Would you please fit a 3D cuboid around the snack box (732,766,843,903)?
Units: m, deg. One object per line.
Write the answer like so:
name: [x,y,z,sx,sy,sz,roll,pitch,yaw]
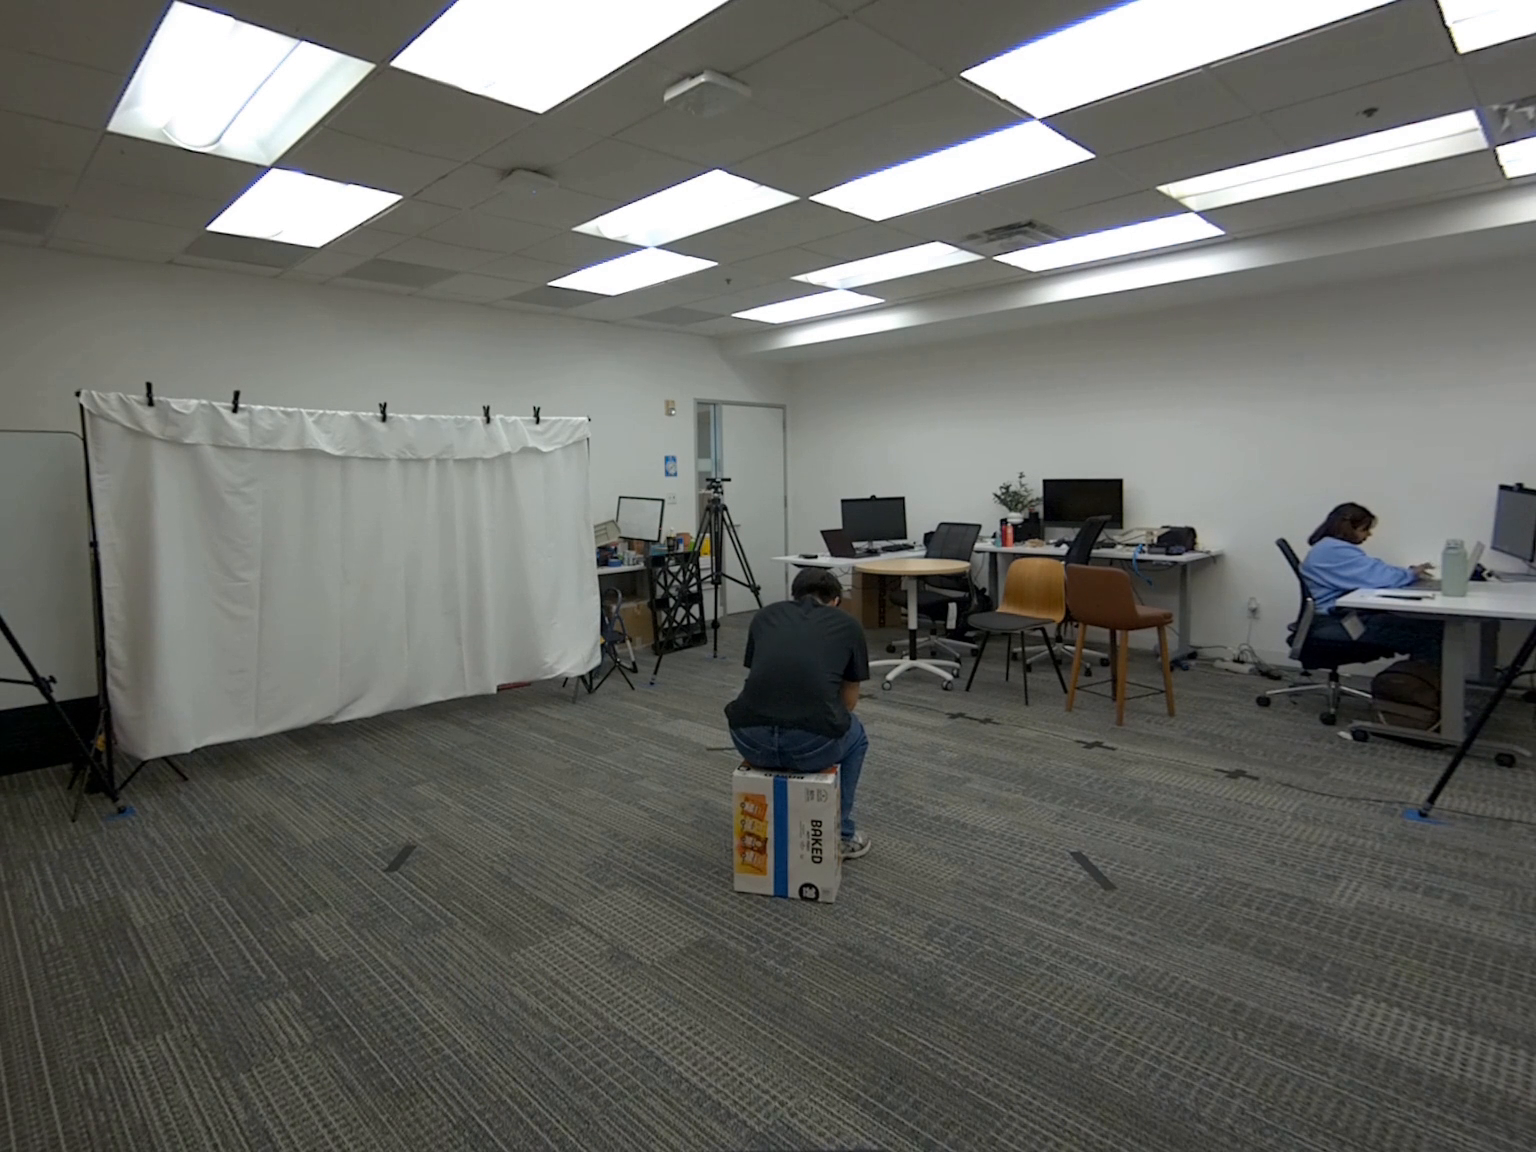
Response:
snack box: [0.069,0.860,2.930,0.345,0.404,0.203,0,3,15]
